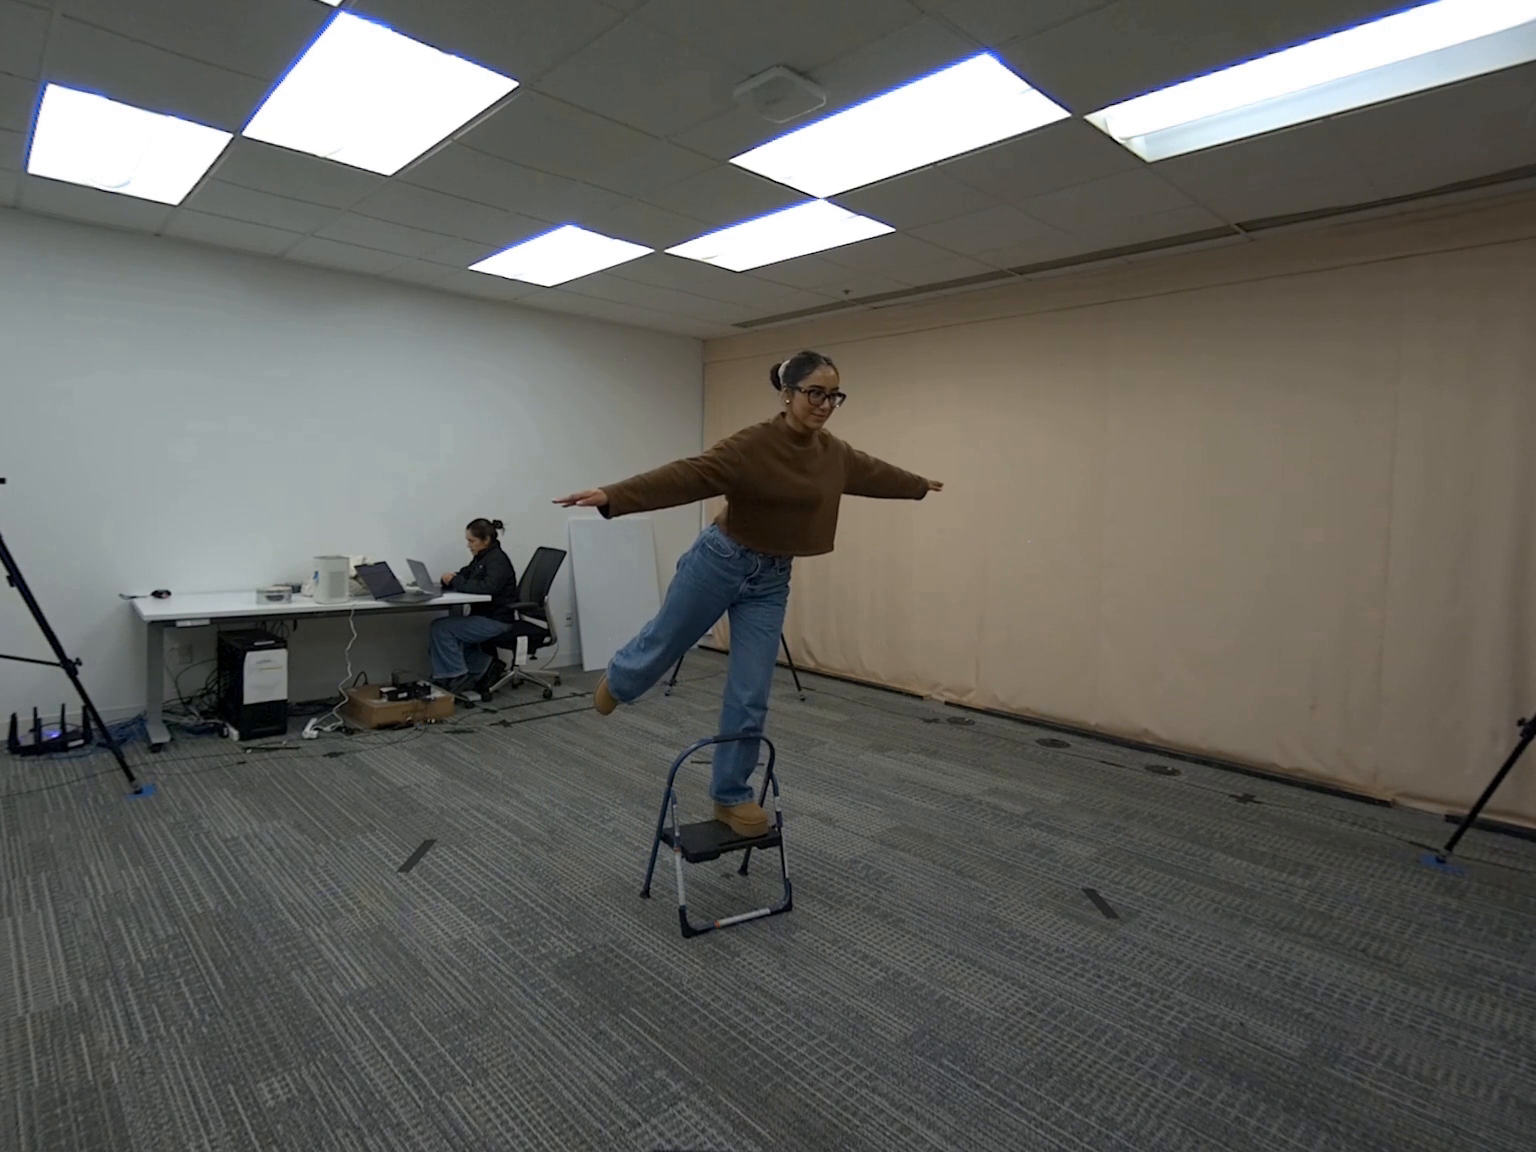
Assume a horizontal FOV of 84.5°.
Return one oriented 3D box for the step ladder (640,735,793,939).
[{"bbox_3d":[-0.177,0.826,2.879,0.421,0.604,0.357,0,4,-32],"label":"step ladder"}]
